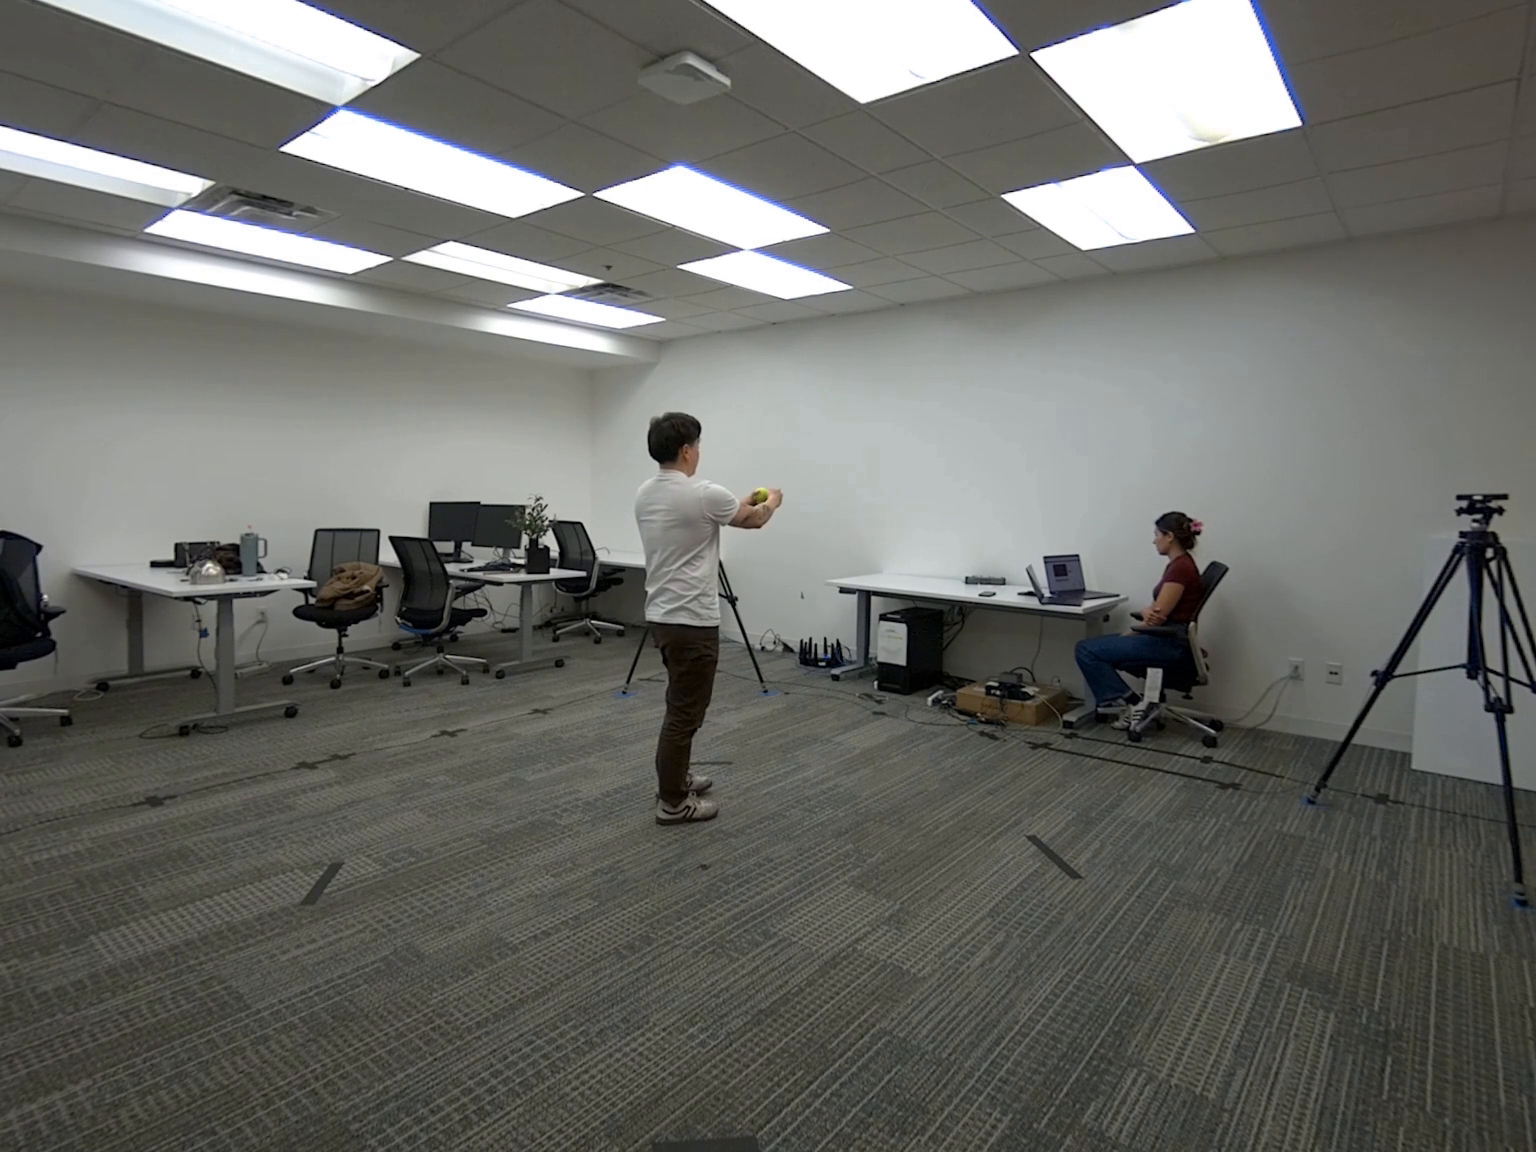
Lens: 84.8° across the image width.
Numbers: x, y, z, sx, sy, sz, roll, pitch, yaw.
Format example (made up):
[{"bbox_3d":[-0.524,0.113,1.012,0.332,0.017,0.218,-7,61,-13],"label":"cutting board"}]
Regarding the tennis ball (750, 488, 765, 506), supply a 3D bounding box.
[{"bbox_3d":[-0.090,-0.382,3.859,0.066,0.066,0.067,1,4,-2],"label":"tennis ball"}]
